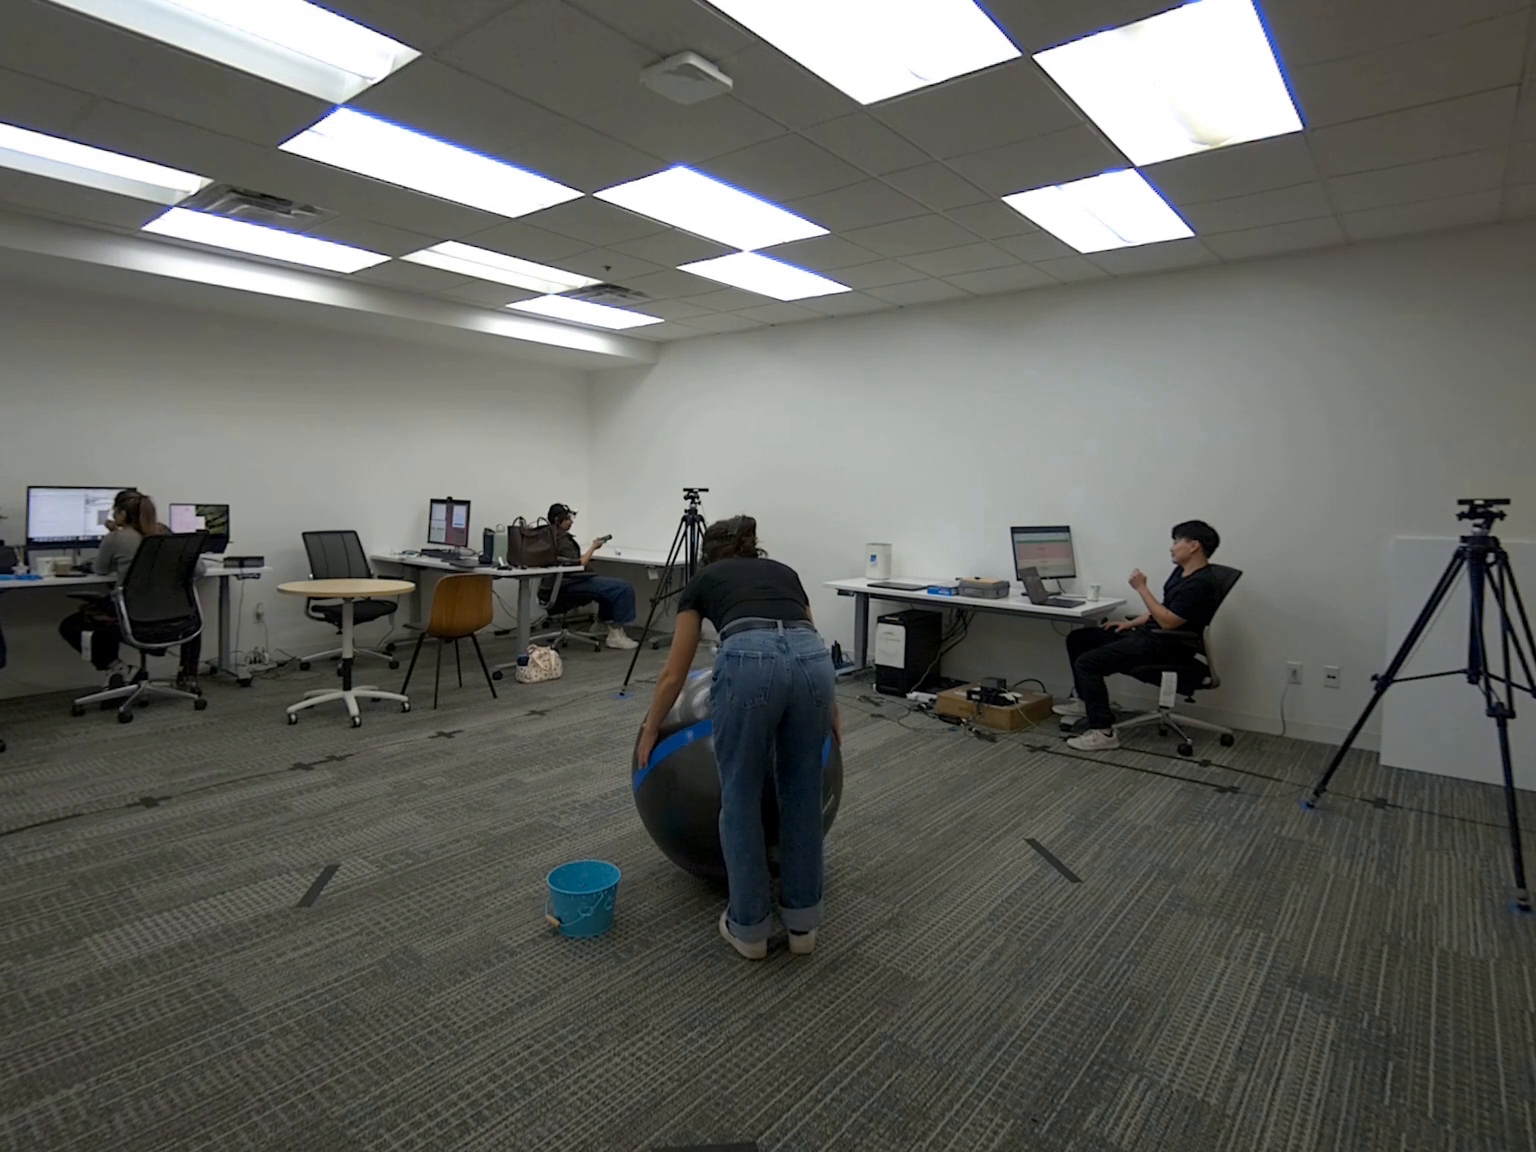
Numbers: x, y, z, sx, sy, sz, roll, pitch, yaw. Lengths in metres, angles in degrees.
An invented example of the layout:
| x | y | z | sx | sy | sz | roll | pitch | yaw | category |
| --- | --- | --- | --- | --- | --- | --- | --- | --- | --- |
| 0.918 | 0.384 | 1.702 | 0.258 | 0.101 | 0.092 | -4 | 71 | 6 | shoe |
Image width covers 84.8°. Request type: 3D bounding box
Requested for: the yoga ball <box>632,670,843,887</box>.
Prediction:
| x | y | z | sx | sy | sz | roll | pitch | yaw | category |
| --- | --- | --- | --- | --- | --- | --- | --- | --- | --- |
| -0.114 | 0.695 | 3.043 | 0.757 | 0.755 | 0.762 | 1 | 4 | -2 | yoga ball |
